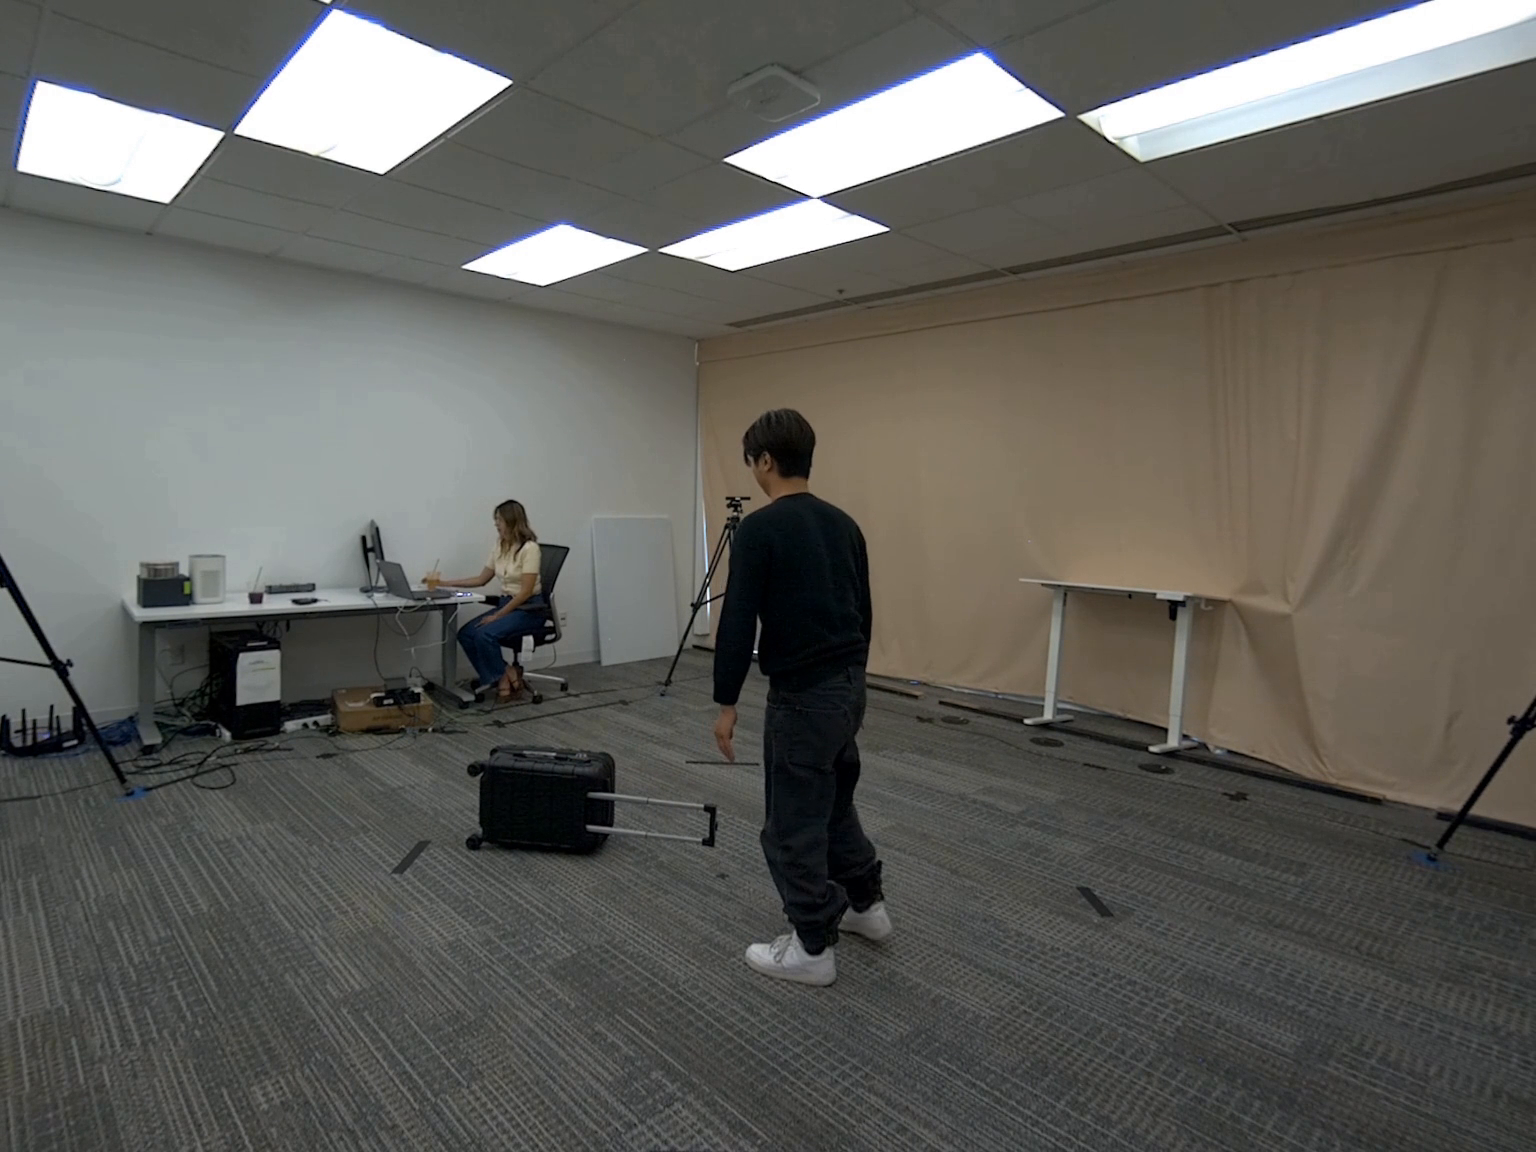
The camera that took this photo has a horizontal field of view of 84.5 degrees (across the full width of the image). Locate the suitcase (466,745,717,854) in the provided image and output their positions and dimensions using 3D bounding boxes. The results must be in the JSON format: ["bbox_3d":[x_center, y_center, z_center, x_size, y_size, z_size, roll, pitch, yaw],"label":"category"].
[{"bbox_3d":[-0.680,0.886,3.321,0.985,0.383,0.256,3,4,7],"label":"suitcase"}]
